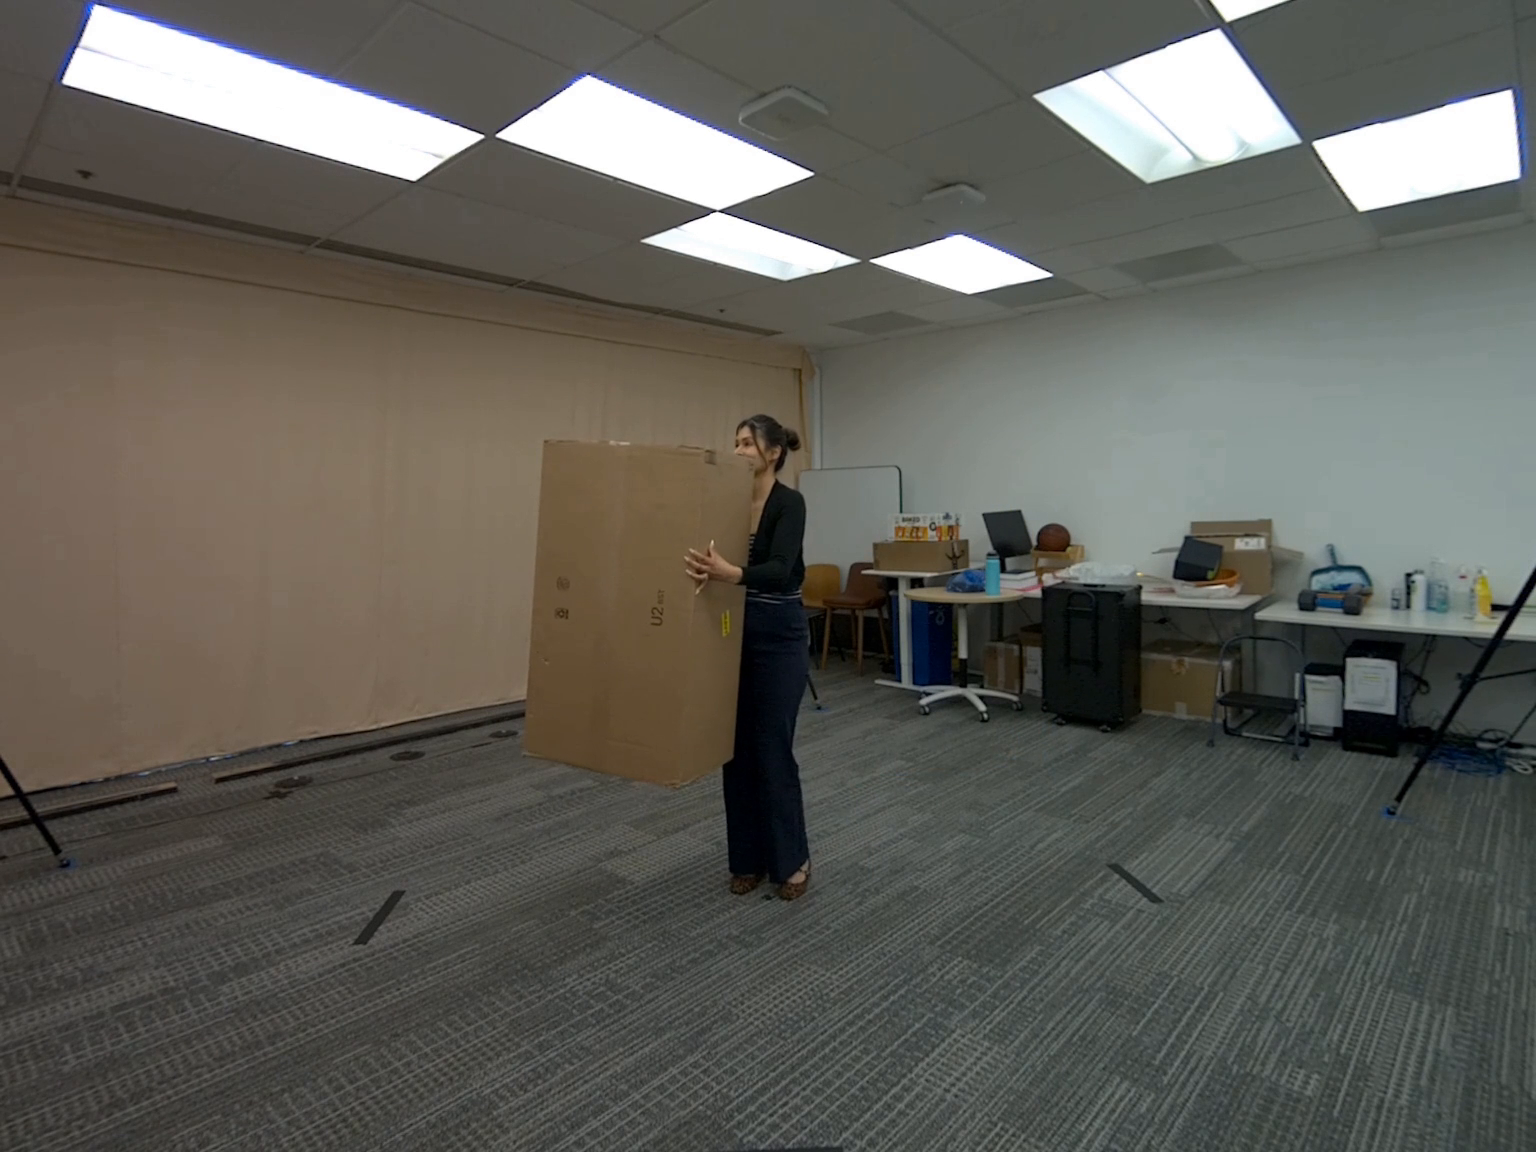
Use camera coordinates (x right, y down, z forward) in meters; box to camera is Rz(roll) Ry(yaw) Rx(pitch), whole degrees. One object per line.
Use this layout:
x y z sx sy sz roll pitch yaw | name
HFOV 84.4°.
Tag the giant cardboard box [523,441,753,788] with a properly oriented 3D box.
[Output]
-0.409 0.096 2.781 0.592 1.025 0.416 5 2 22 | giant cardboard box
